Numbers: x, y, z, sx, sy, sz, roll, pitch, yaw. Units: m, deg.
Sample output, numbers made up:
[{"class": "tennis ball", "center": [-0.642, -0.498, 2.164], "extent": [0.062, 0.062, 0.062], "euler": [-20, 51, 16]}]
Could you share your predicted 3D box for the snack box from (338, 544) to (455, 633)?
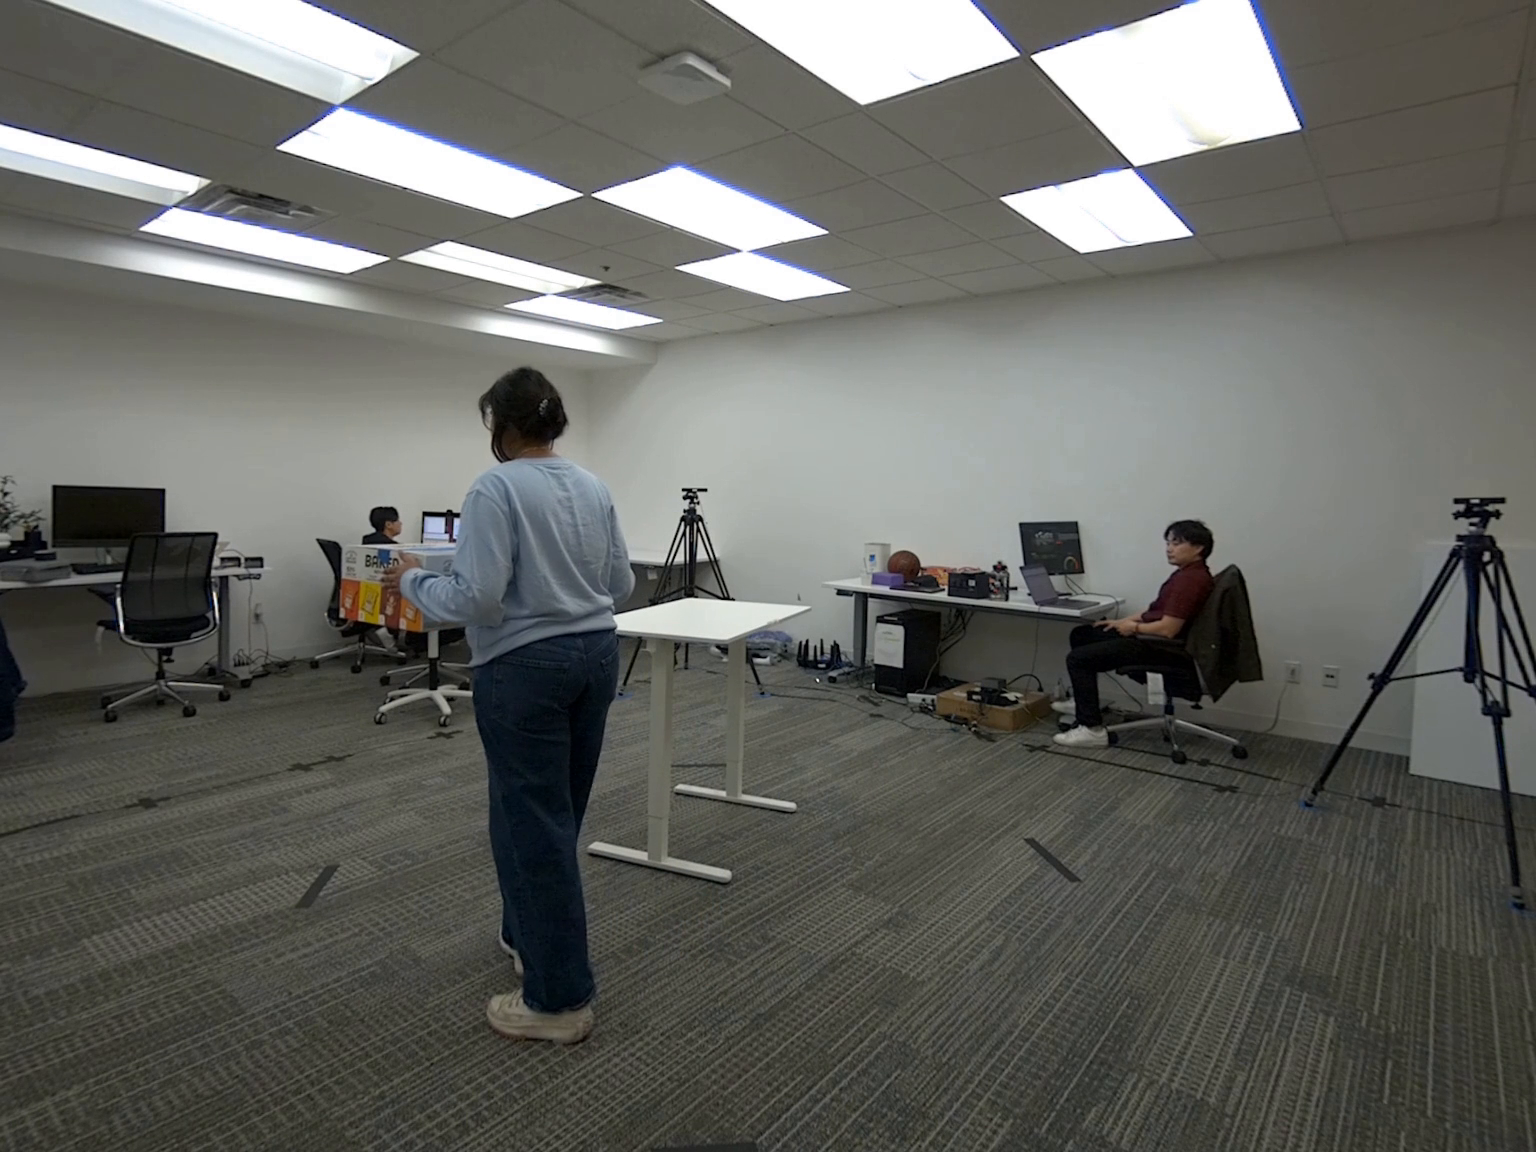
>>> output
[{"class": "snack box", "center": [-0.952, 0.018, 2.444], "extent": [0.350, 0.205, 0.394], "euler": [6, 5, 29]}]
